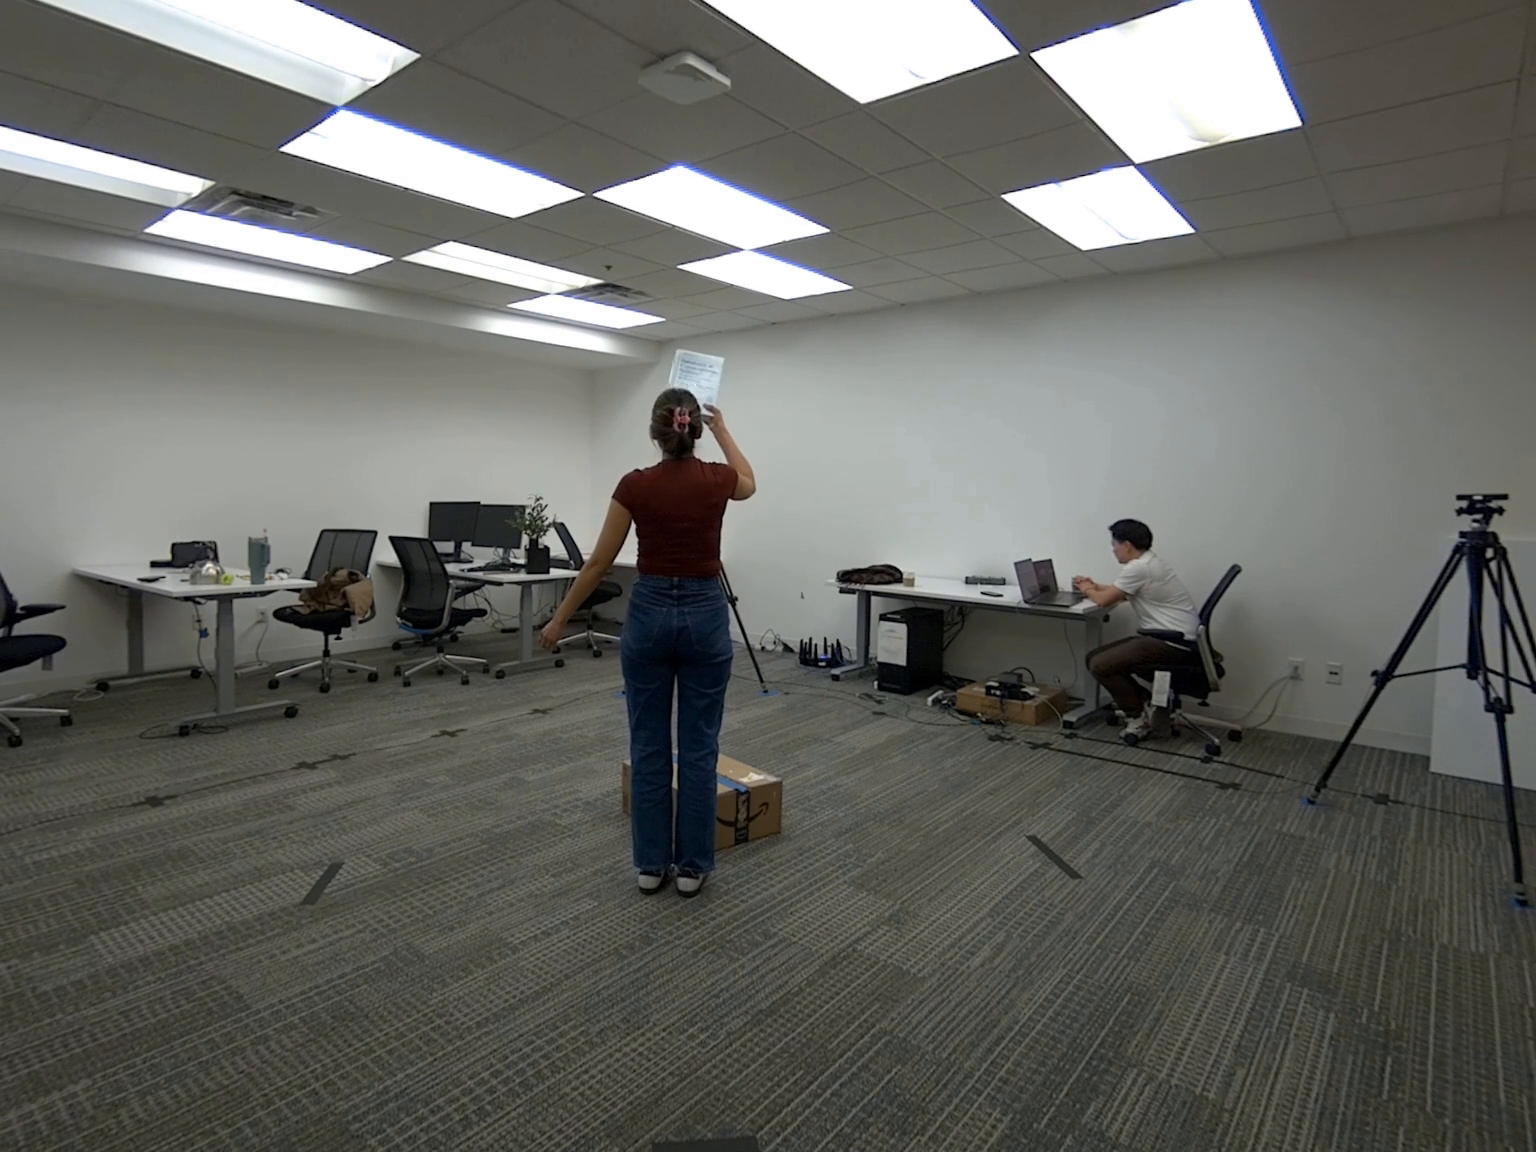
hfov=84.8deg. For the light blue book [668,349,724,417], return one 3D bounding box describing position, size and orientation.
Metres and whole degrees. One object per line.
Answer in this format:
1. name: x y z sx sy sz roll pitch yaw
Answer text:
1. light blue book: -0.298 -0.742 3.319 0.191 0.264 0.058 12 -17 -1
